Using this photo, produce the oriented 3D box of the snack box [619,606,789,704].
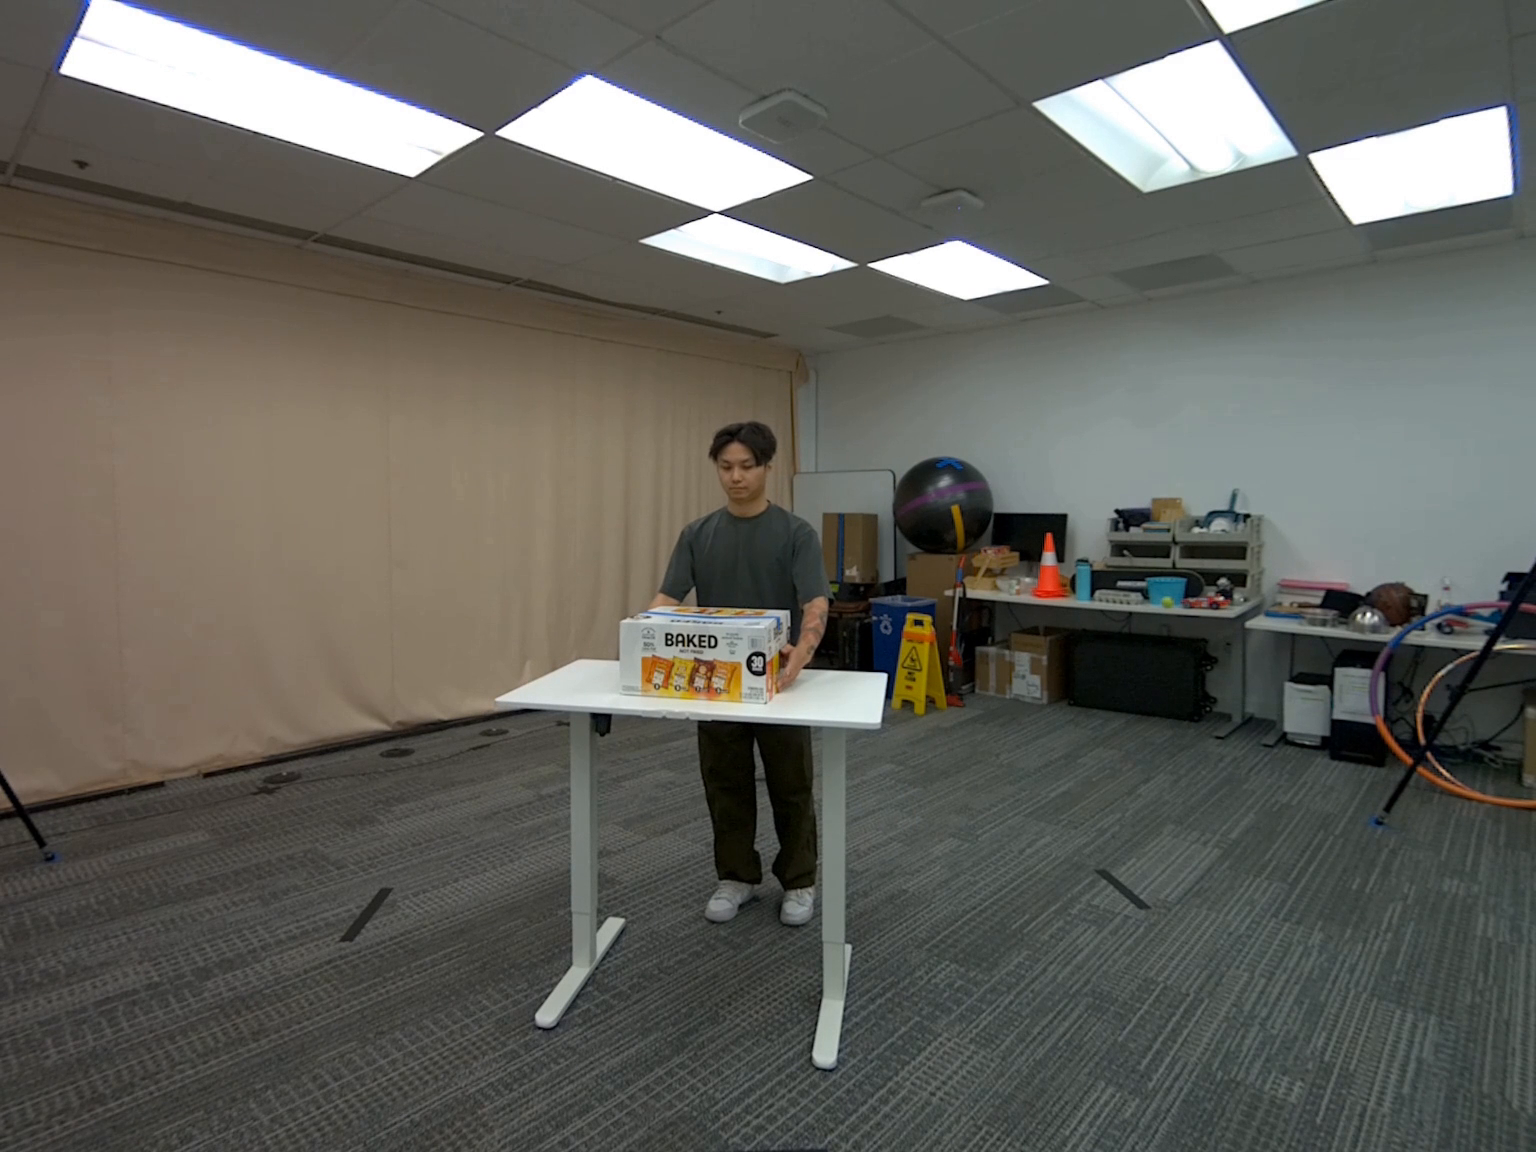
[{"bbox_3d":[-0.169,0.213,2.382,0.411,0.205,0.336,1,4,14],"label":"snack box"}]
